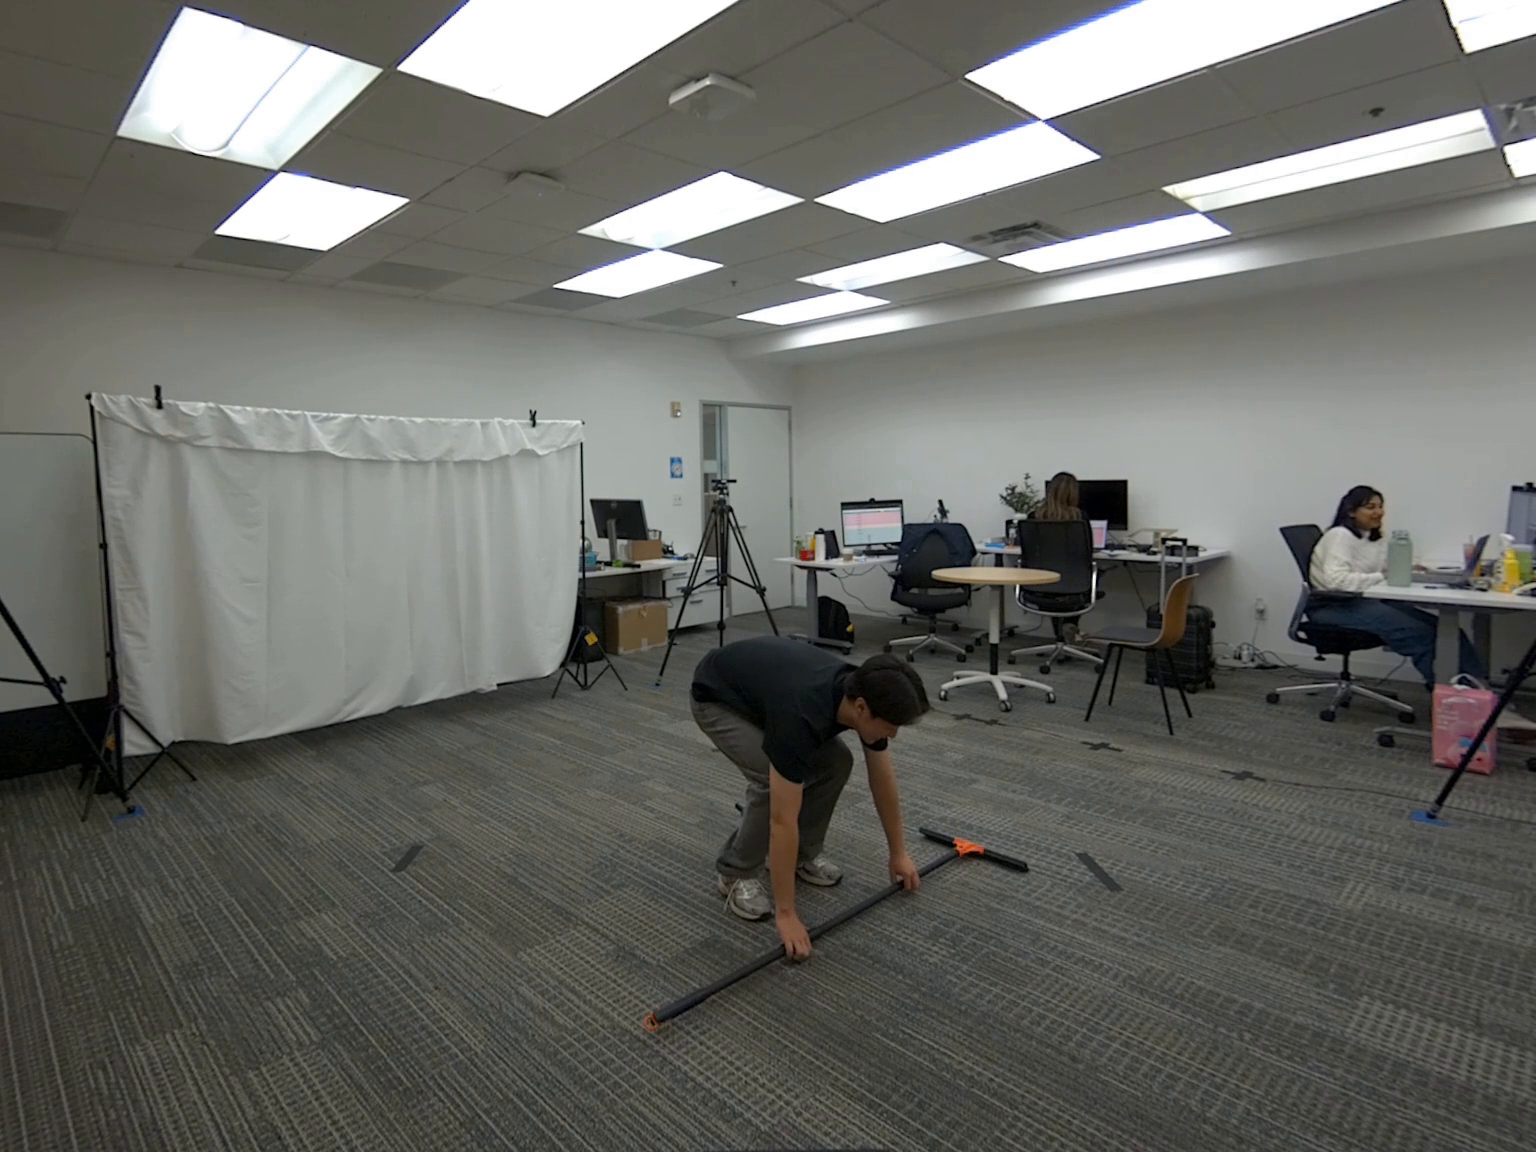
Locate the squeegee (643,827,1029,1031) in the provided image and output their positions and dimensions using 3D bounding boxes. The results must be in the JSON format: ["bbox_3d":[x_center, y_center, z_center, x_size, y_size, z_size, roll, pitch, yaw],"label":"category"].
[{"bbox_3d":[0.236,1.051,2.646,1.498,0.053,0.451,-8,8,-44],"label":"squeegee"}]
